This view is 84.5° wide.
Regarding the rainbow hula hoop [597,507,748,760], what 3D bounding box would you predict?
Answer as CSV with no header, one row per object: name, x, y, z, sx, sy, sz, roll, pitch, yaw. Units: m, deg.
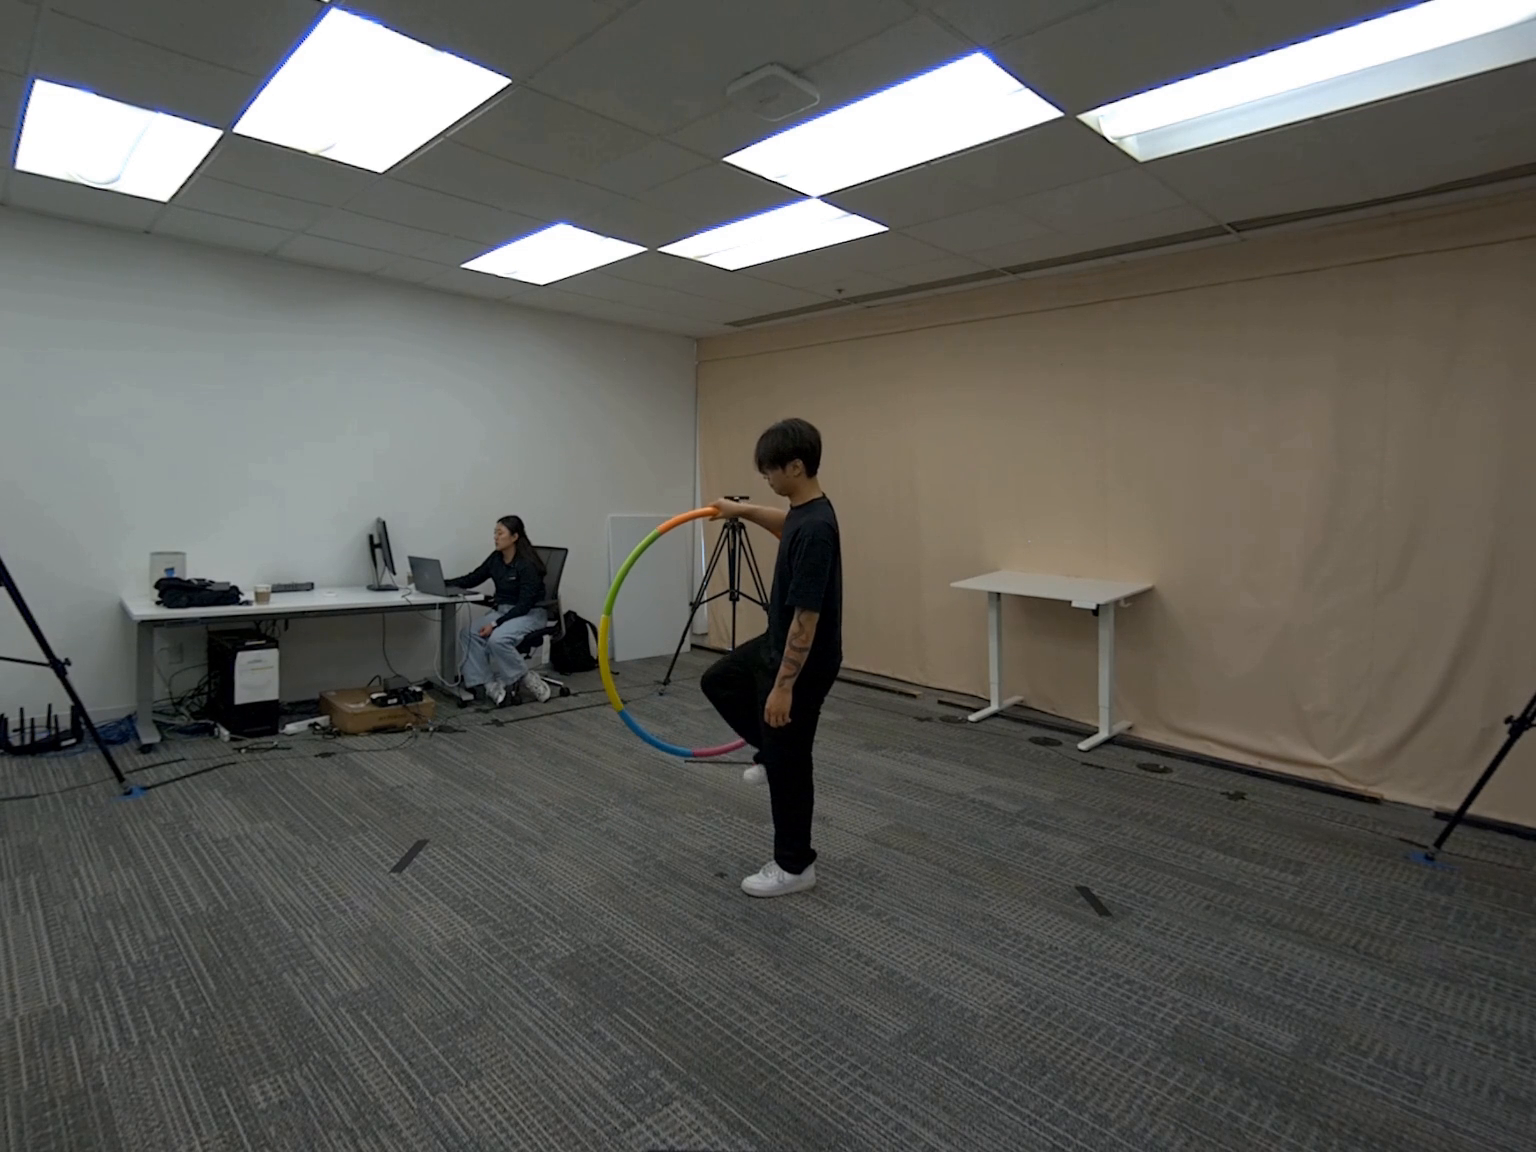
rainbow hula hoop,-0.198,0.219,3.310,0.960,0.974,0.036,-1,6,-28
